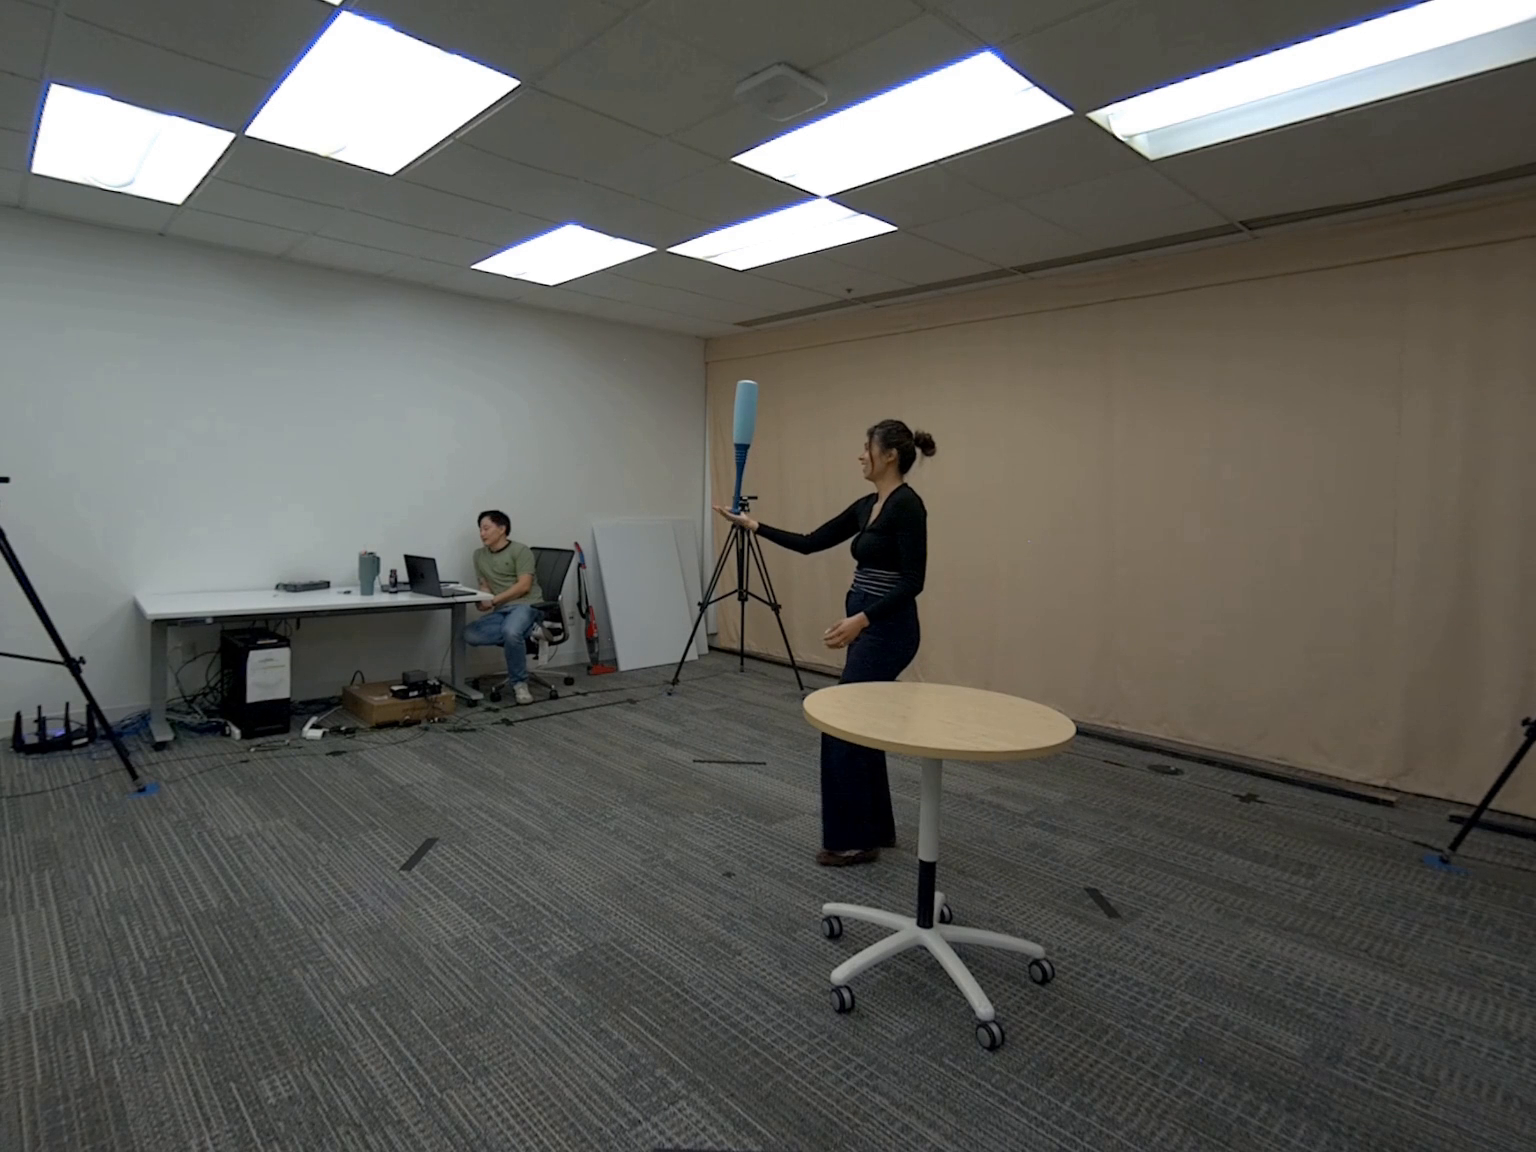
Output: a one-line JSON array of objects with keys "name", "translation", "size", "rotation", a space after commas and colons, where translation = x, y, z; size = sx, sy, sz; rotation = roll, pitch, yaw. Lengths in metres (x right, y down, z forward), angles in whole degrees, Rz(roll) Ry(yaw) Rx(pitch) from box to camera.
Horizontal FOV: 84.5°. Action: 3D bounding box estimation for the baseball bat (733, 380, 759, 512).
[{"name": "baseball bat", "translation": [-0.101, -0.512, 3.397], "size": [0.089, 0.541, 0.089], "rotation": [6, 6, -2]}]
